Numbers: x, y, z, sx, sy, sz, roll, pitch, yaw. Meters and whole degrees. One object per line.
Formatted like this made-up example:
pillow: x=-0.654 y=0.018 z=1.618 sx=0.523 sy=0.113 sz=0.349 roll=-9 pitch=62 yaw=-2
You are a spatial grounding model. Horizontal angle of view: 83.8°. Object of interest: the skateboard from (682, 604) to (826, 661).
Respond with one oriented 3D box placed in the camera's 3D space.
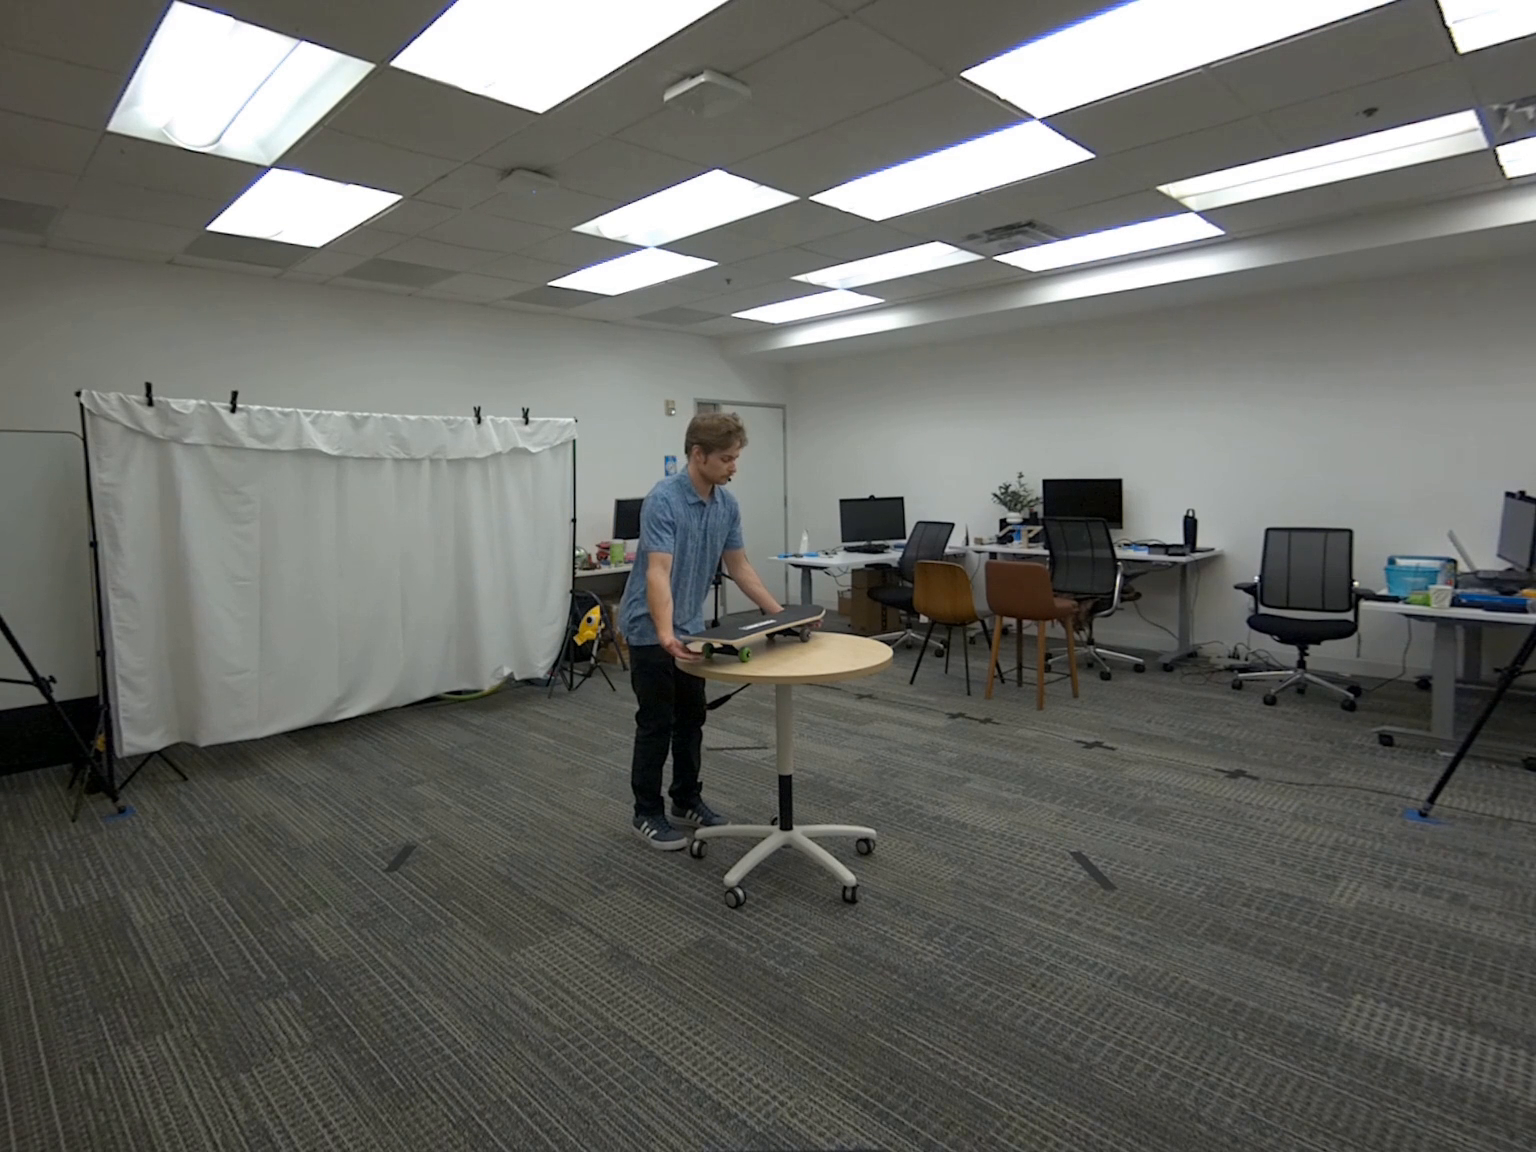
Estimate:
skateboard: x=-0.035 y=0.206 z=3.087 sx=0.199 sy=0.110 sz=0.767 roll=3 pitch=7 yaw=33
